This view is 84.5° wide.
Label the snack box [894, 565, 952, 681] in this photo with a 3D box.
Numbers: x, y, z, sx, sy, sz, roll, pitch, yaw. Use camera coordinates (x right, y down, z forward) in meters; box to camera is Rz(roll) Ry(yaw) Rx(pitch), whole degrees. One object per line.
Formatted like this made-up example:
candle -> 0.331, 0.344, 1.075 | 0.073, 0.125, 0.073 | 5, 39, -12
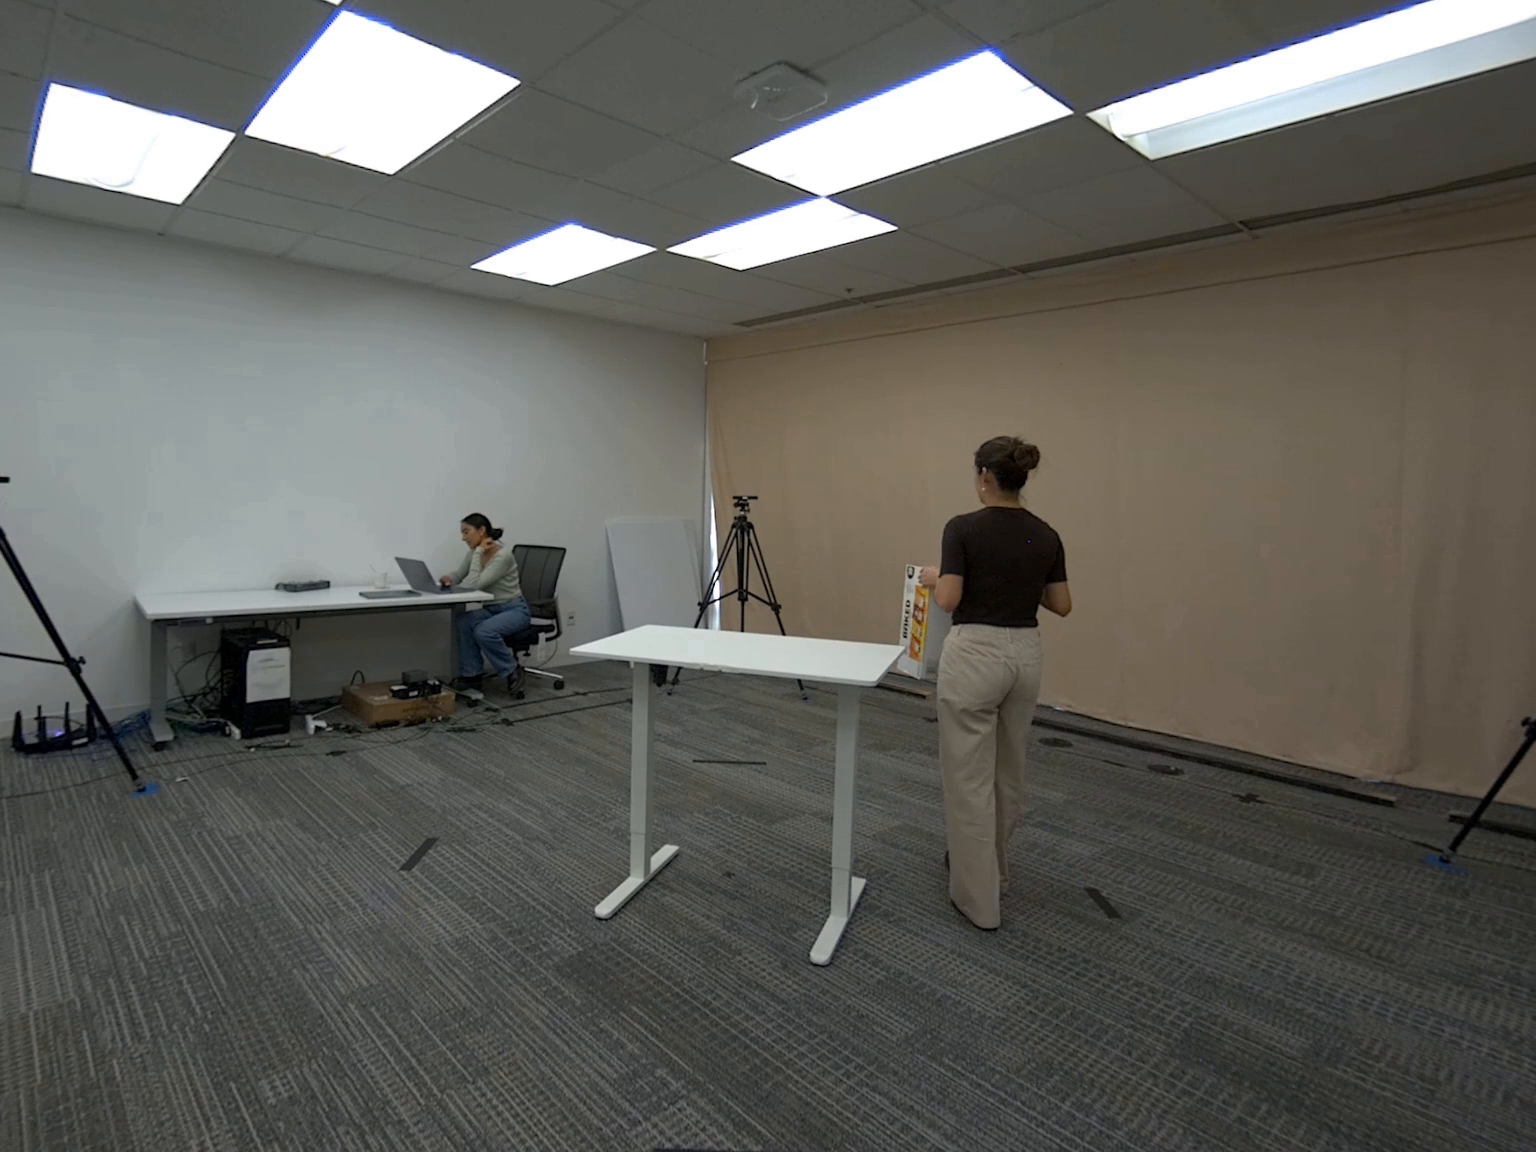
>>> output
snack box -> 0.709, 0.176, 3.194 | 0.336, 0.404, 0.208 | 4, 3, -14
